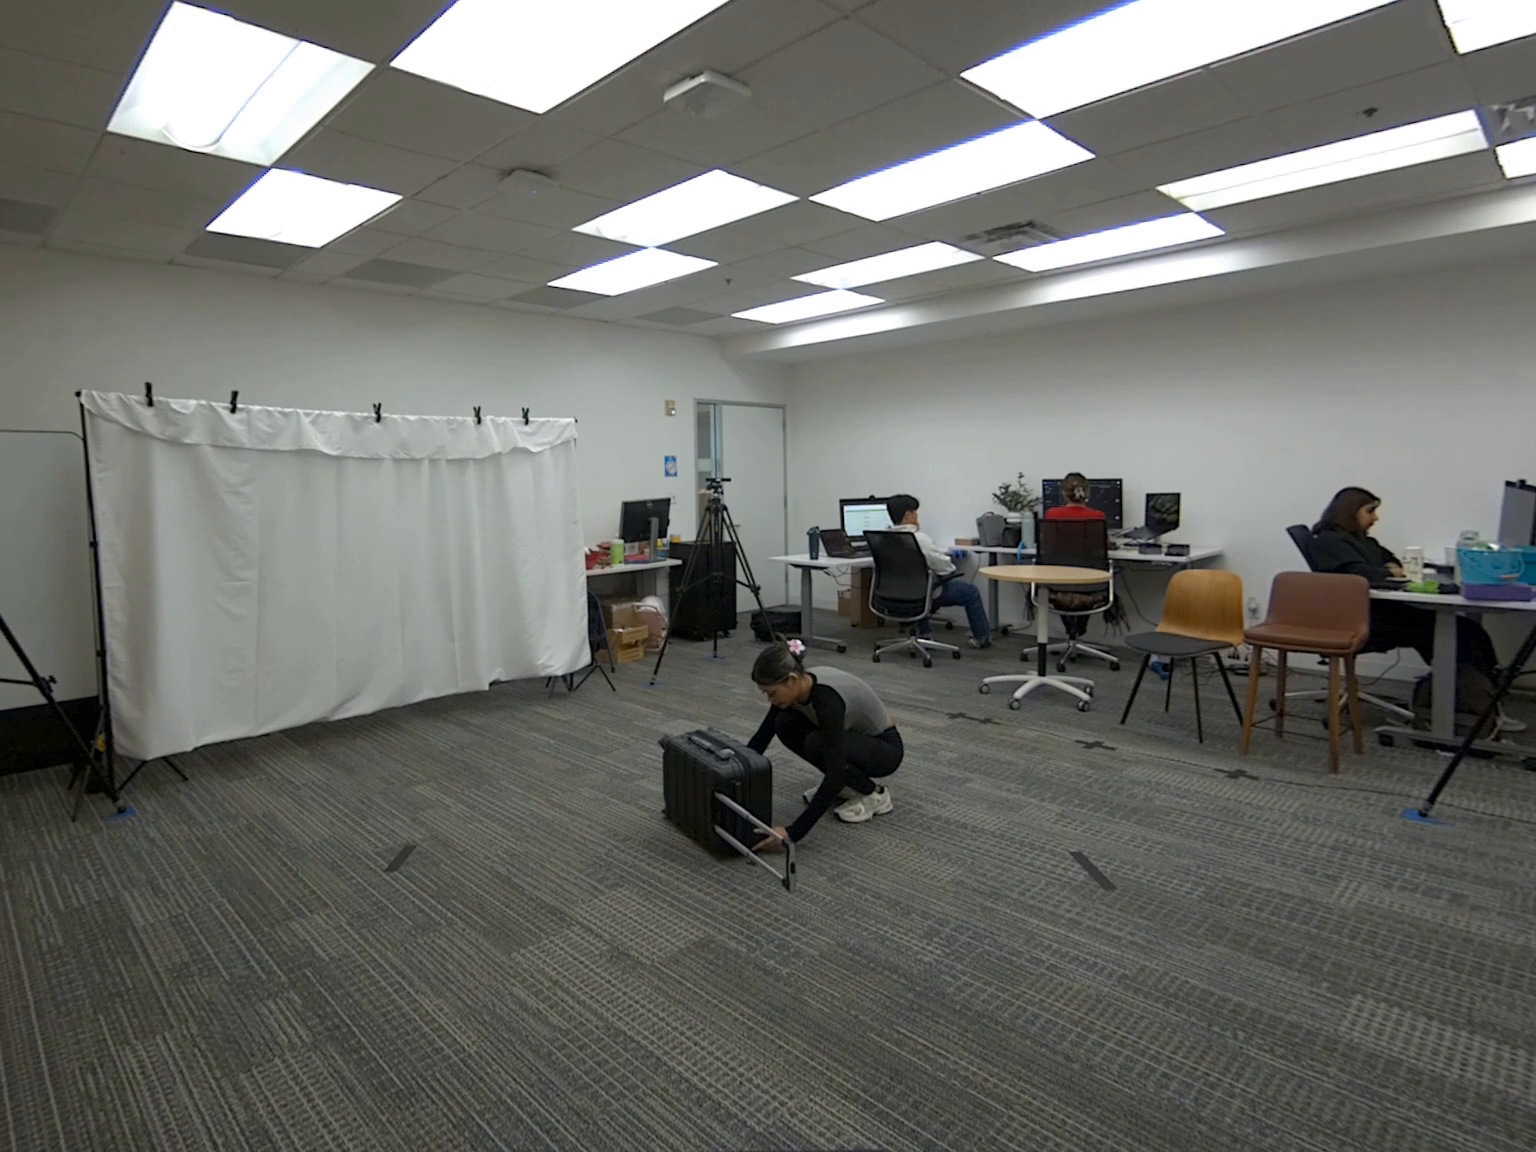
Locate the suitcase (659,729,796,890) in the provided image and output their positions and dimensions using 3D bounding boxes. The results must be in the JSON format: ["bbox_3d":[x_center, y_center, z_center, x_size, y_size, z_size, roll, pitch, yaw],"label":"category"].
[{"bbox_3d":[-0.096,0.846,3.157,0.251,0.382,1.006,-4,6,-32],"label":"suitcase"}]
